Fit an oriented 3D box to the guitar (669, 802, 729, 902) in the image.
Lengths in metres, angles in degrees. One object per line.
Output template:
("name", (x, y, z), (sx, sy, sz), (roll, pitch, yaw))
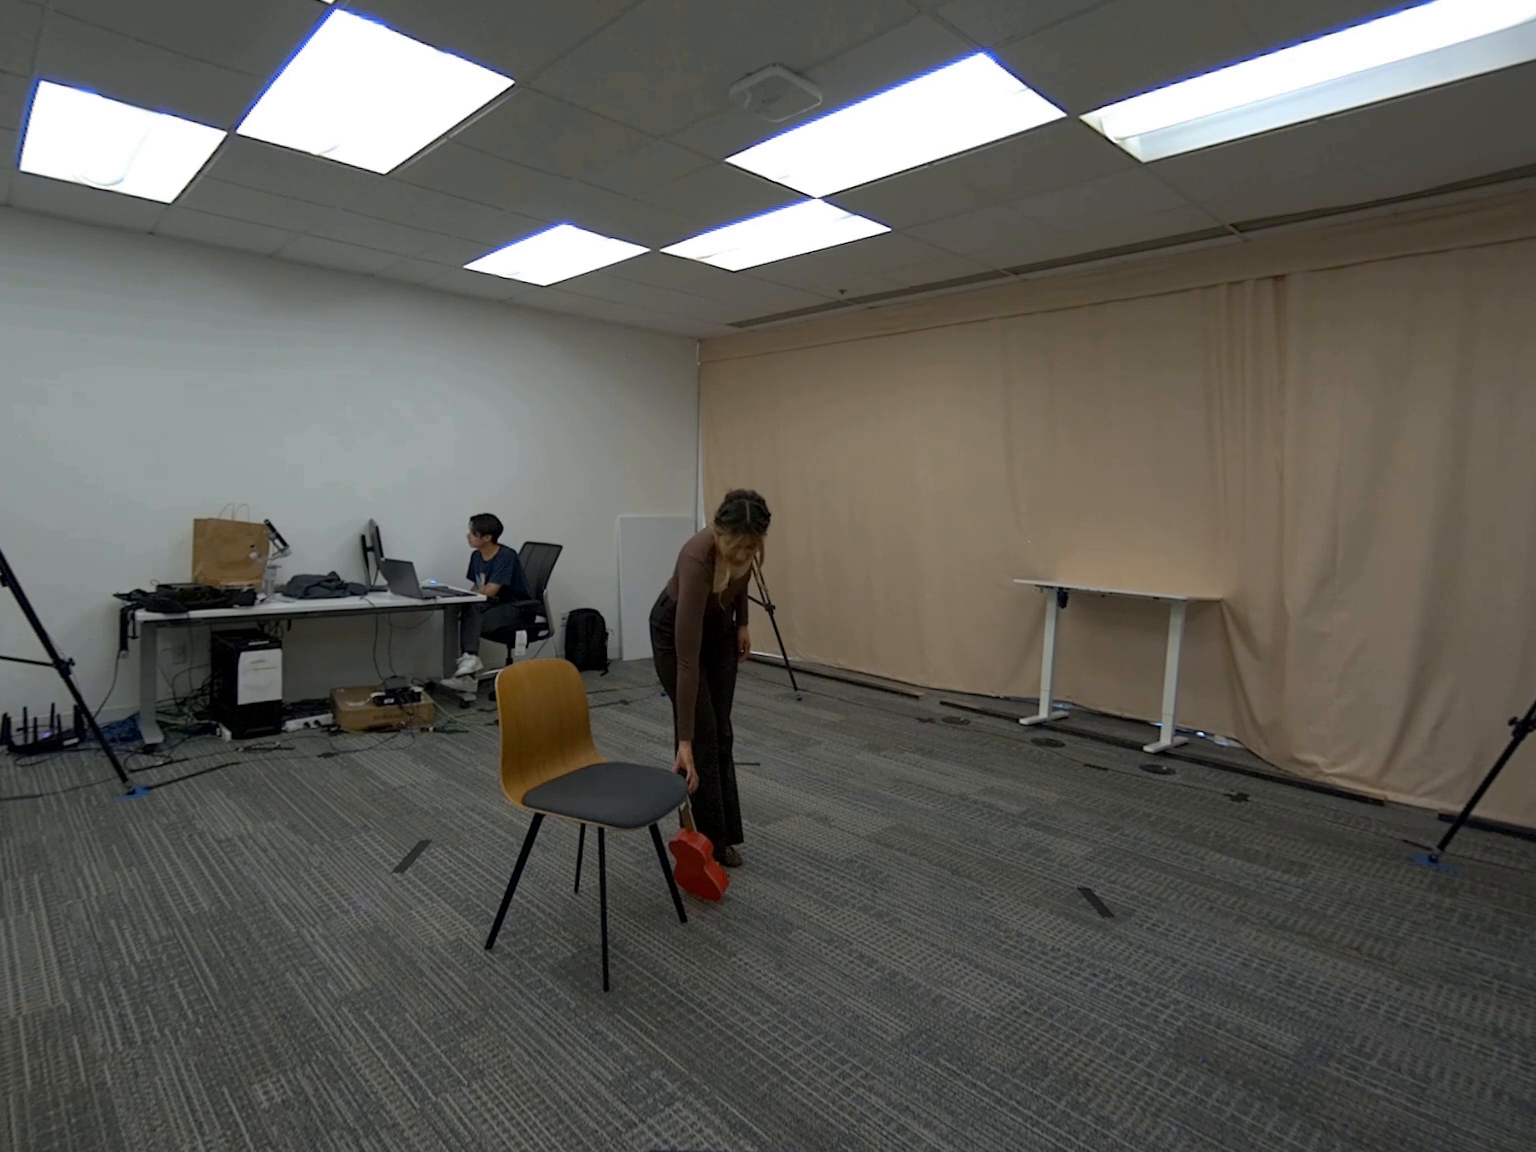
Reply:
("guitar", (-0.291, 0.895, 2.867), (0.197, 0.488, 0.070), (-1, 26, 34))
